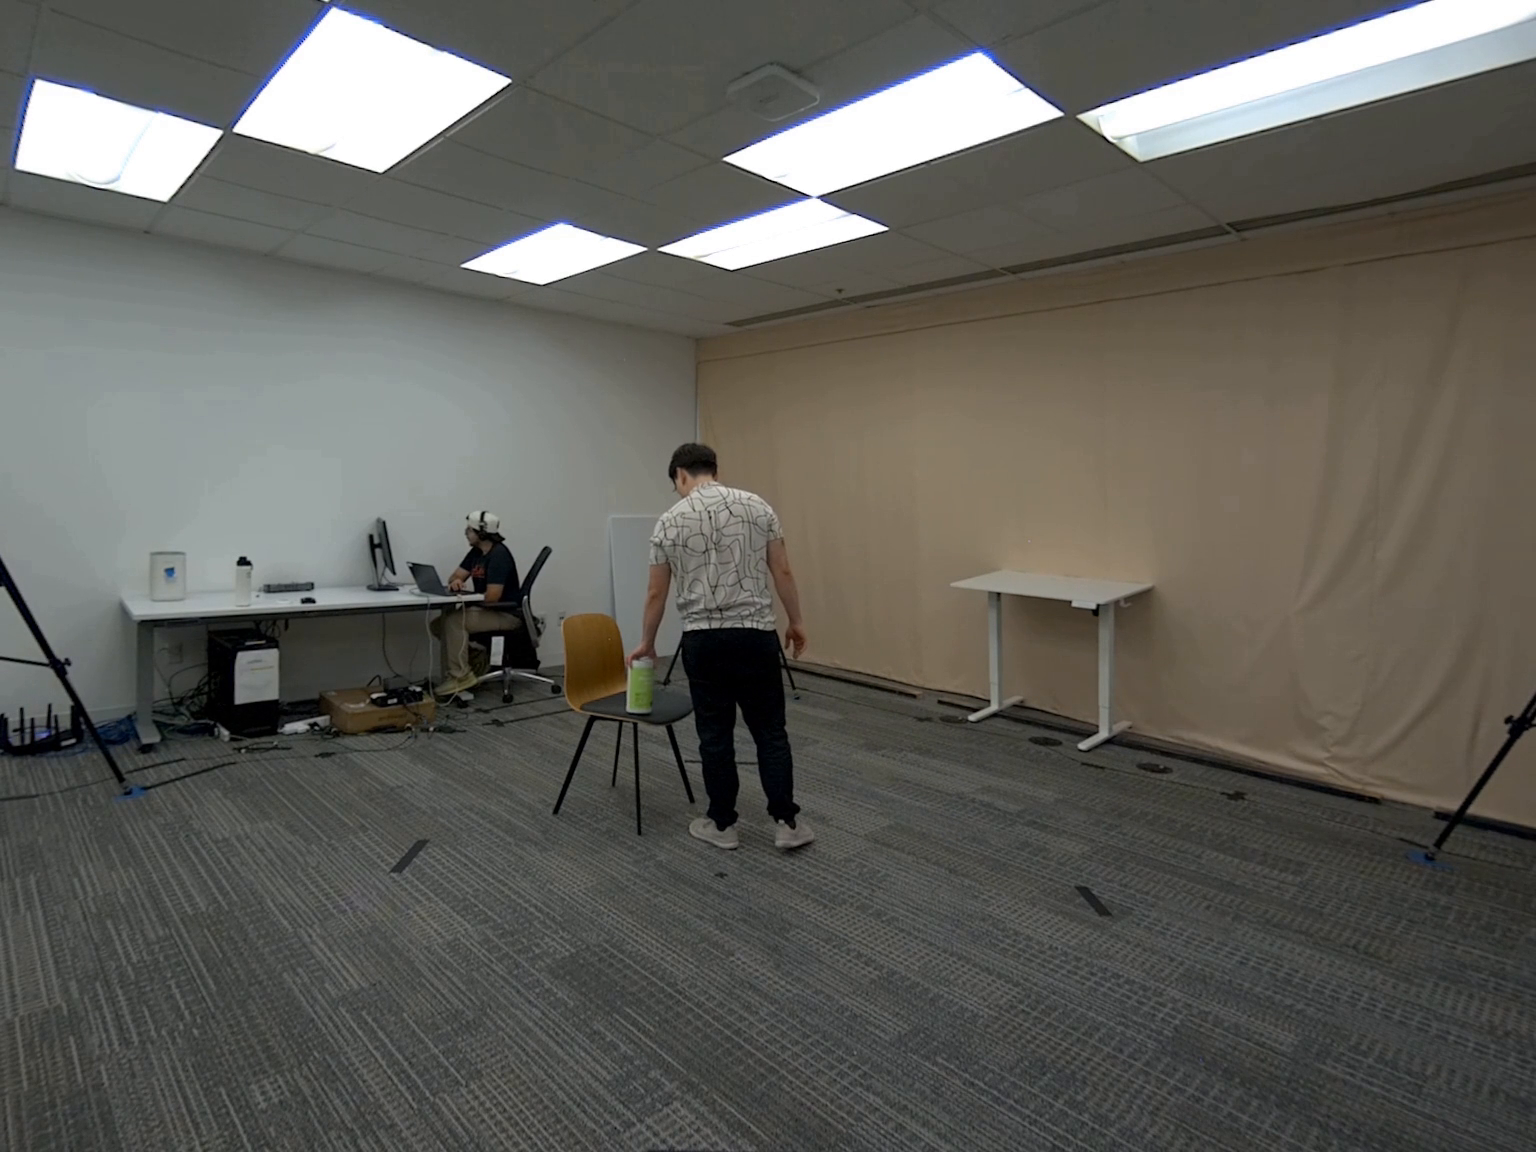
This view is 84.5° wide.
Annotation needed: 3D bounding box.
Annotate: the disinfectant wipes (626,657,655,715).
[{"bbox_3d":[-0.534,0.454,3.494,0.118,0.218,0.118,1,-1,-1],"label":"disinfectant wipes"}]
